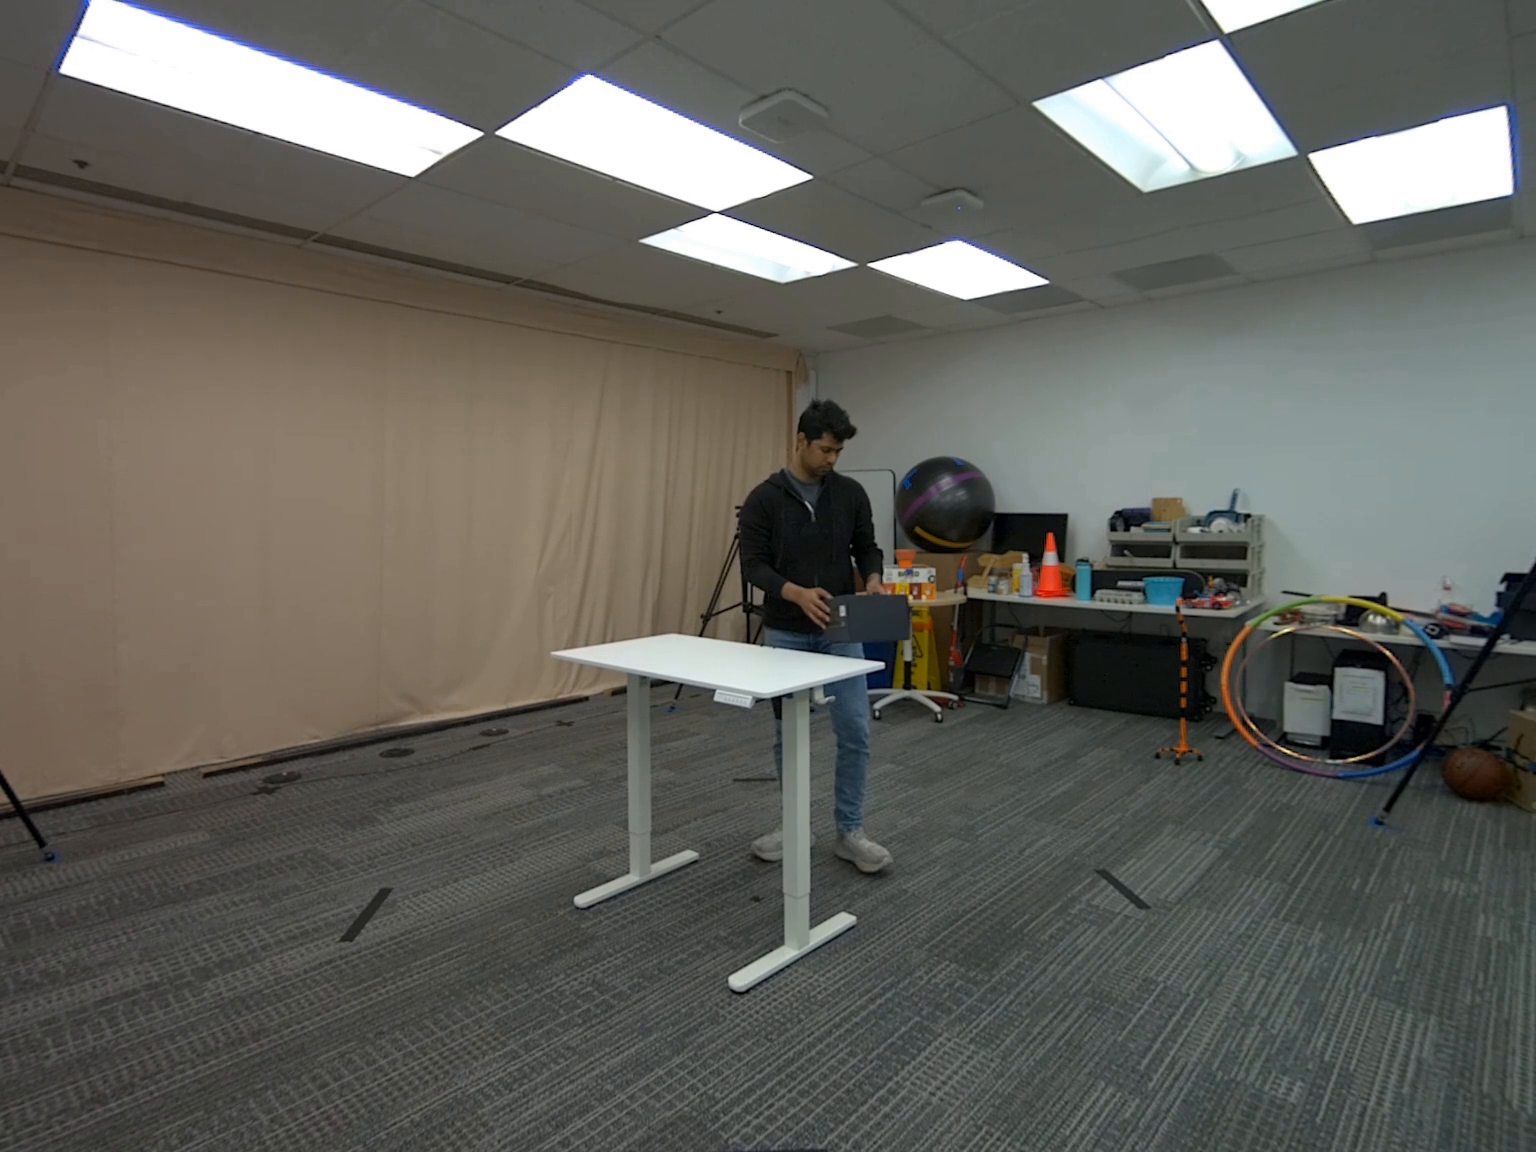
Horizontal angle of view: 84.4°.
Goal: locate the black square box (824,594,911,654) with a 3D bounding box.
[{"bbox_3d":[0.341,0.156,2.924,0.225,0.156,0.219,-1,-5,-12],"label":"black square box"}]
